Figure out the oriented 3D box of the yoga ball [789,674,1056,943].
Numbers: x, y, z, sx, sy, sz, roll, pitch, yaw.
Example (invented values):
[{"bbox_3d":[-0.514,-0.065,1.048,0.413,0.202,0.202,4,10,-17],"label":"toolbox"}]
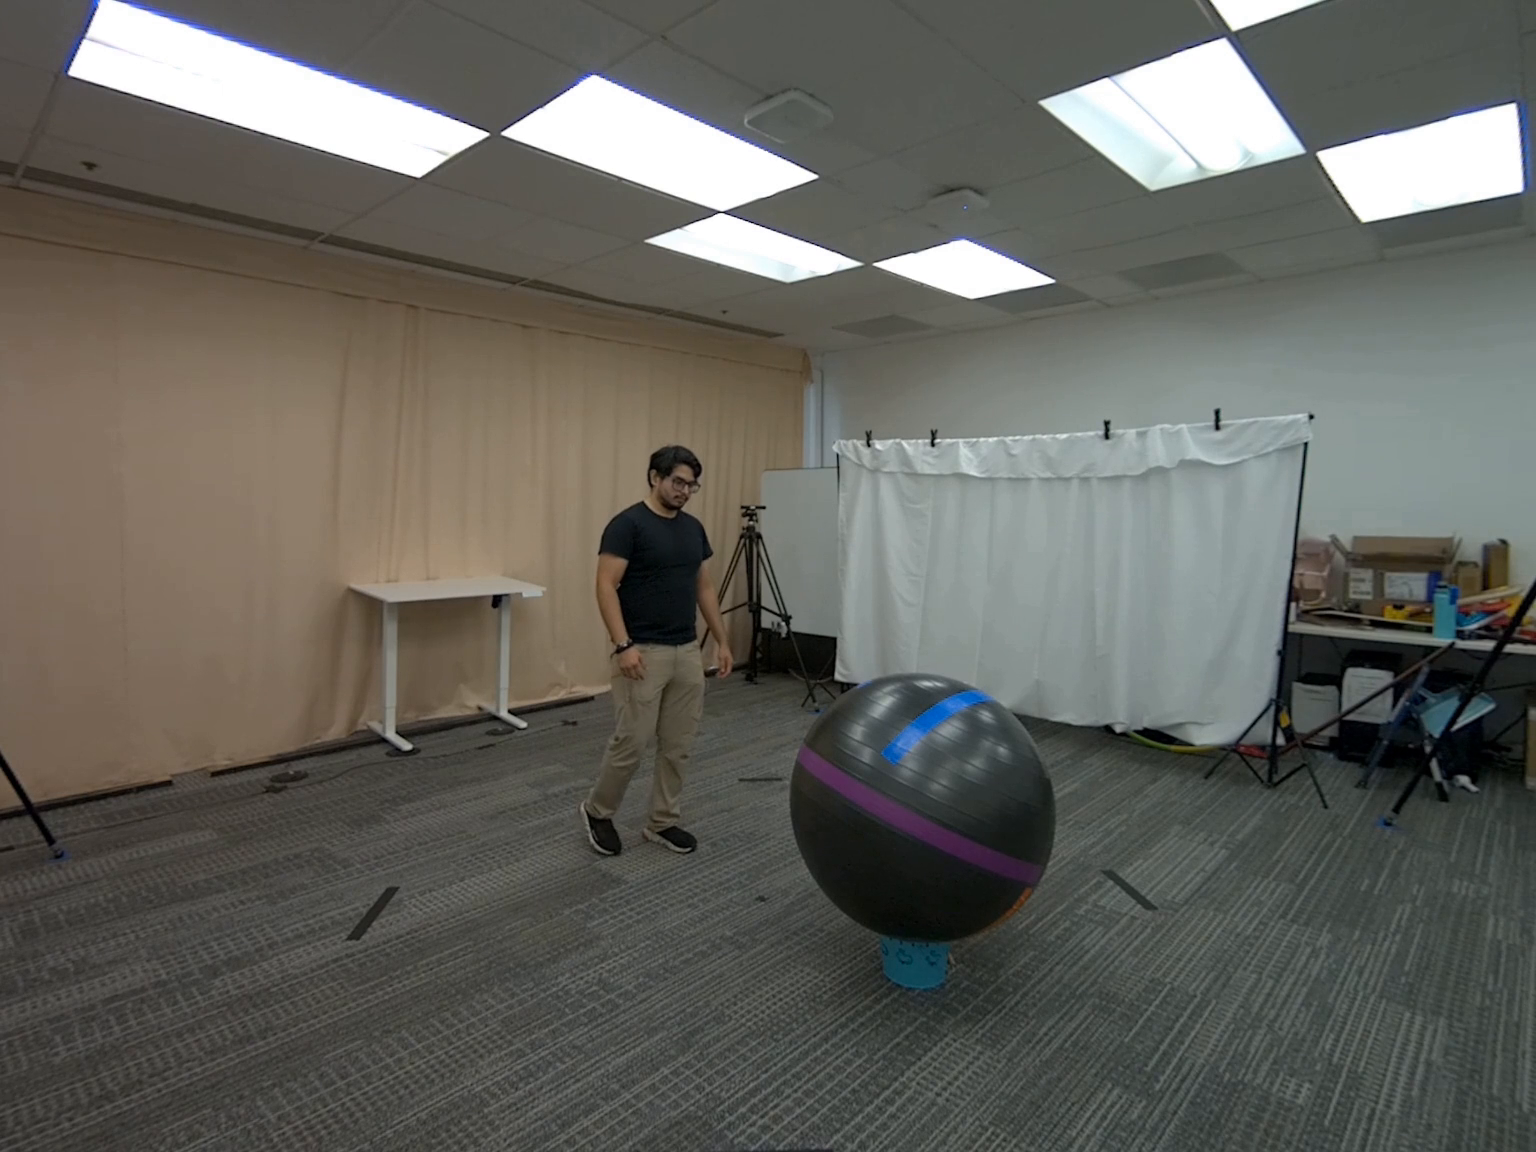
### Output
[{"bbox_3d":[0.456,0.676,2.495,0.757,0.756,0.761,0,4,-2],"label":"yoga ball"}]
